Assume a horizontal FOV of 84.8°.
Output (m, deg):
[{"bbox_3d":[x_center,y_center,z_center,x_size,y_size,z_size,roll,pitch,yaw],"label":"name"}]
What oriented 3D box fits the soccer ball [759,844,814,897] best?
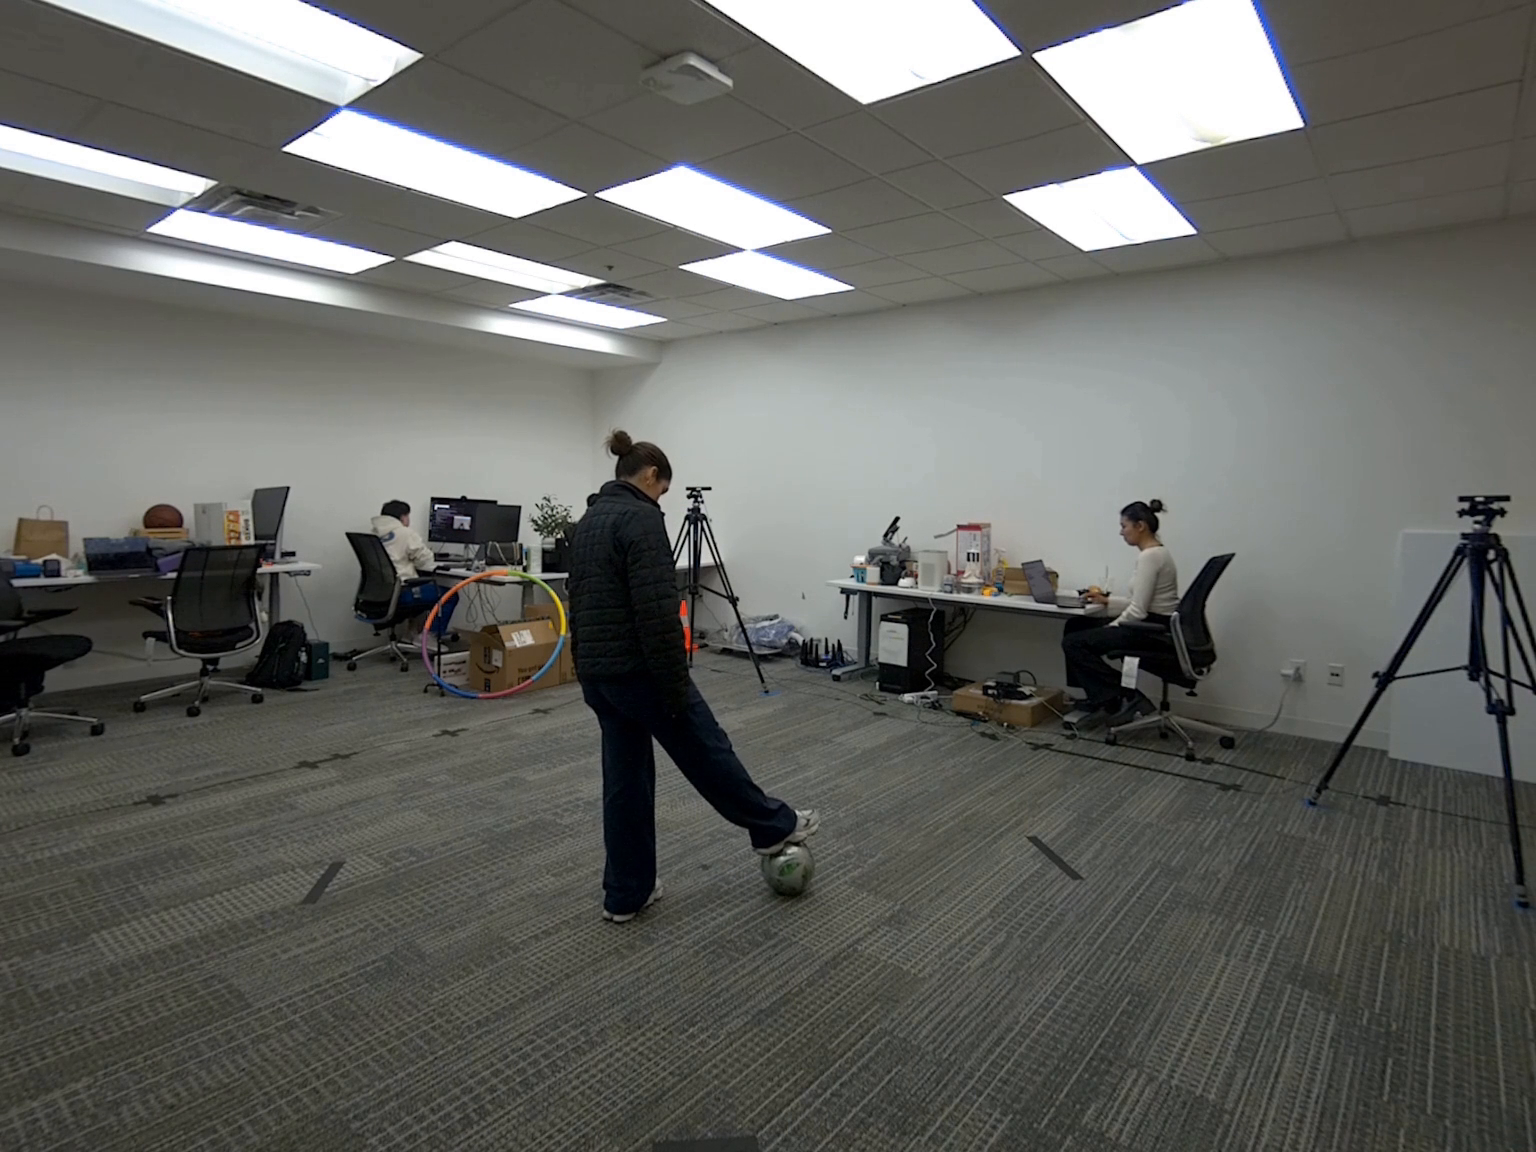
[{"bbox_3d":[0.056,0.995,2.943,0.187,0.187,0.188,1,4,-2],"label":"soccer ball"}]
